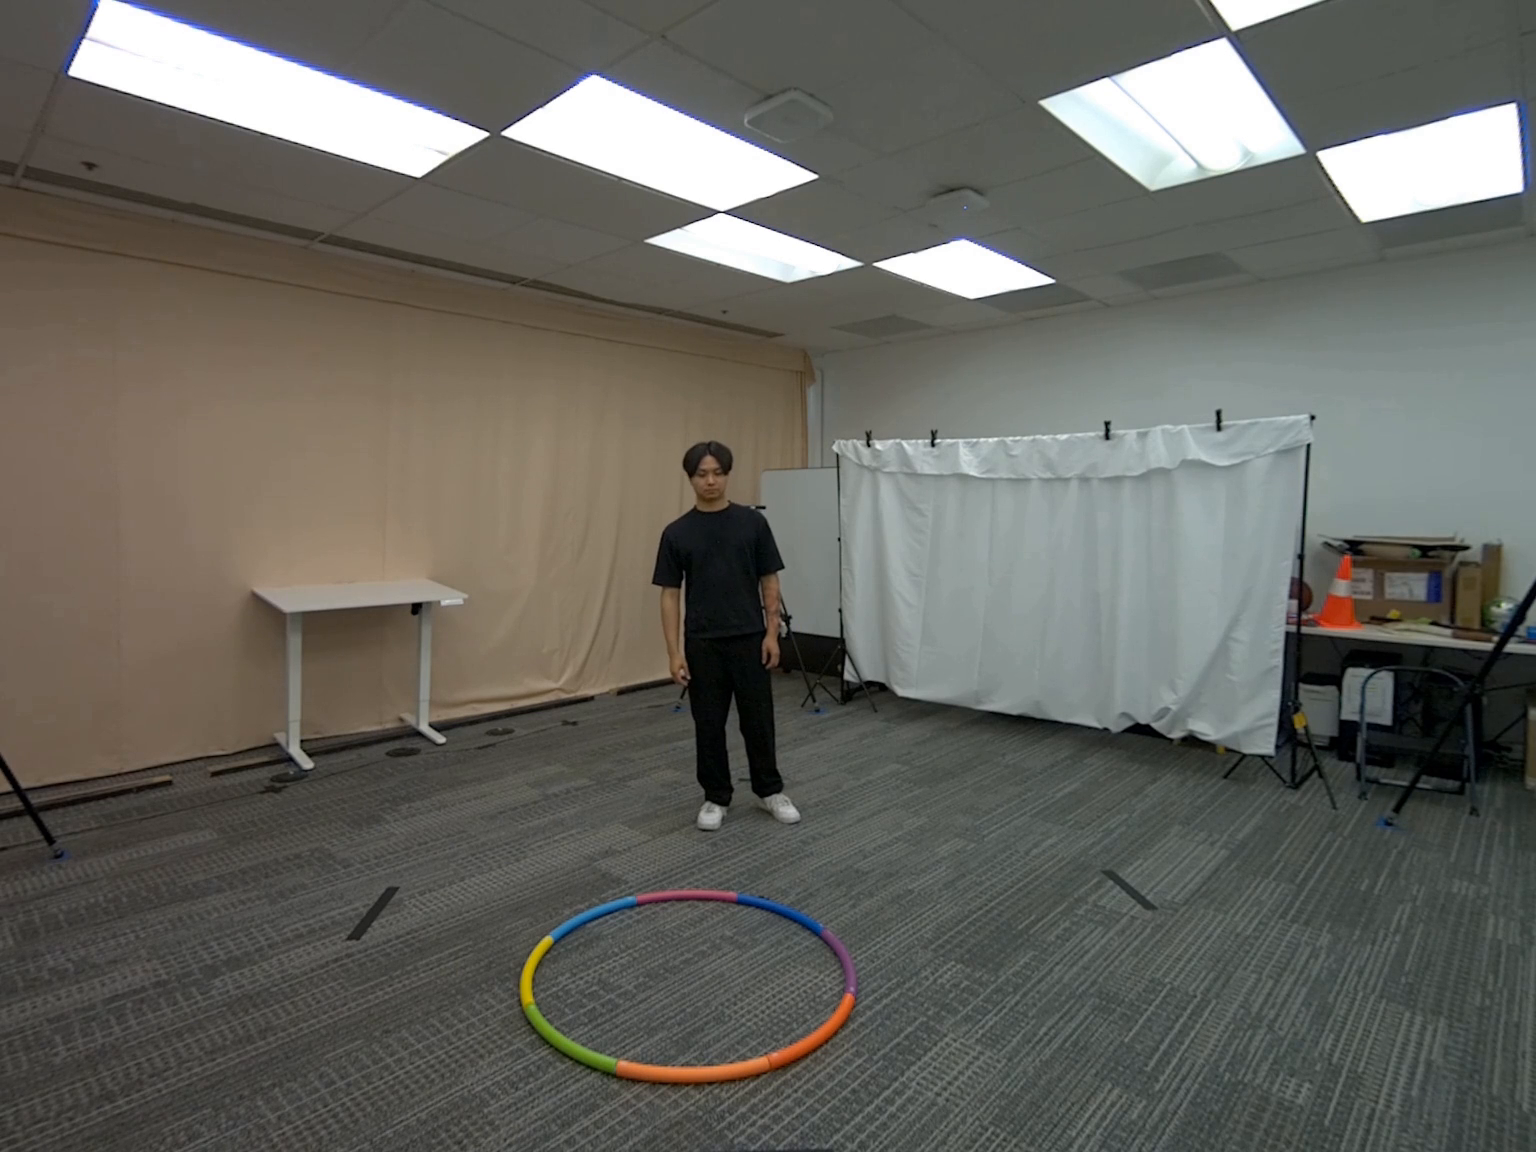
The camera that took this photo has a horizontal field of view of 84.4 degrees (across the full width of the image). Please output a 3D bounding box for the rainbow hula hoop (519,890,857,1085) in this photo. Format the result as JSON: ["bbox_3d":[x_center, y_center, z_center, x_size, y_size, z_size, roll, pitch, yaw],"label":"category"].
[{"bbox_3d":[-0.231,1.154,2.513,0.978,0.035,0.982,0,4,-2],"label":"rainbow hula hoop"}]
